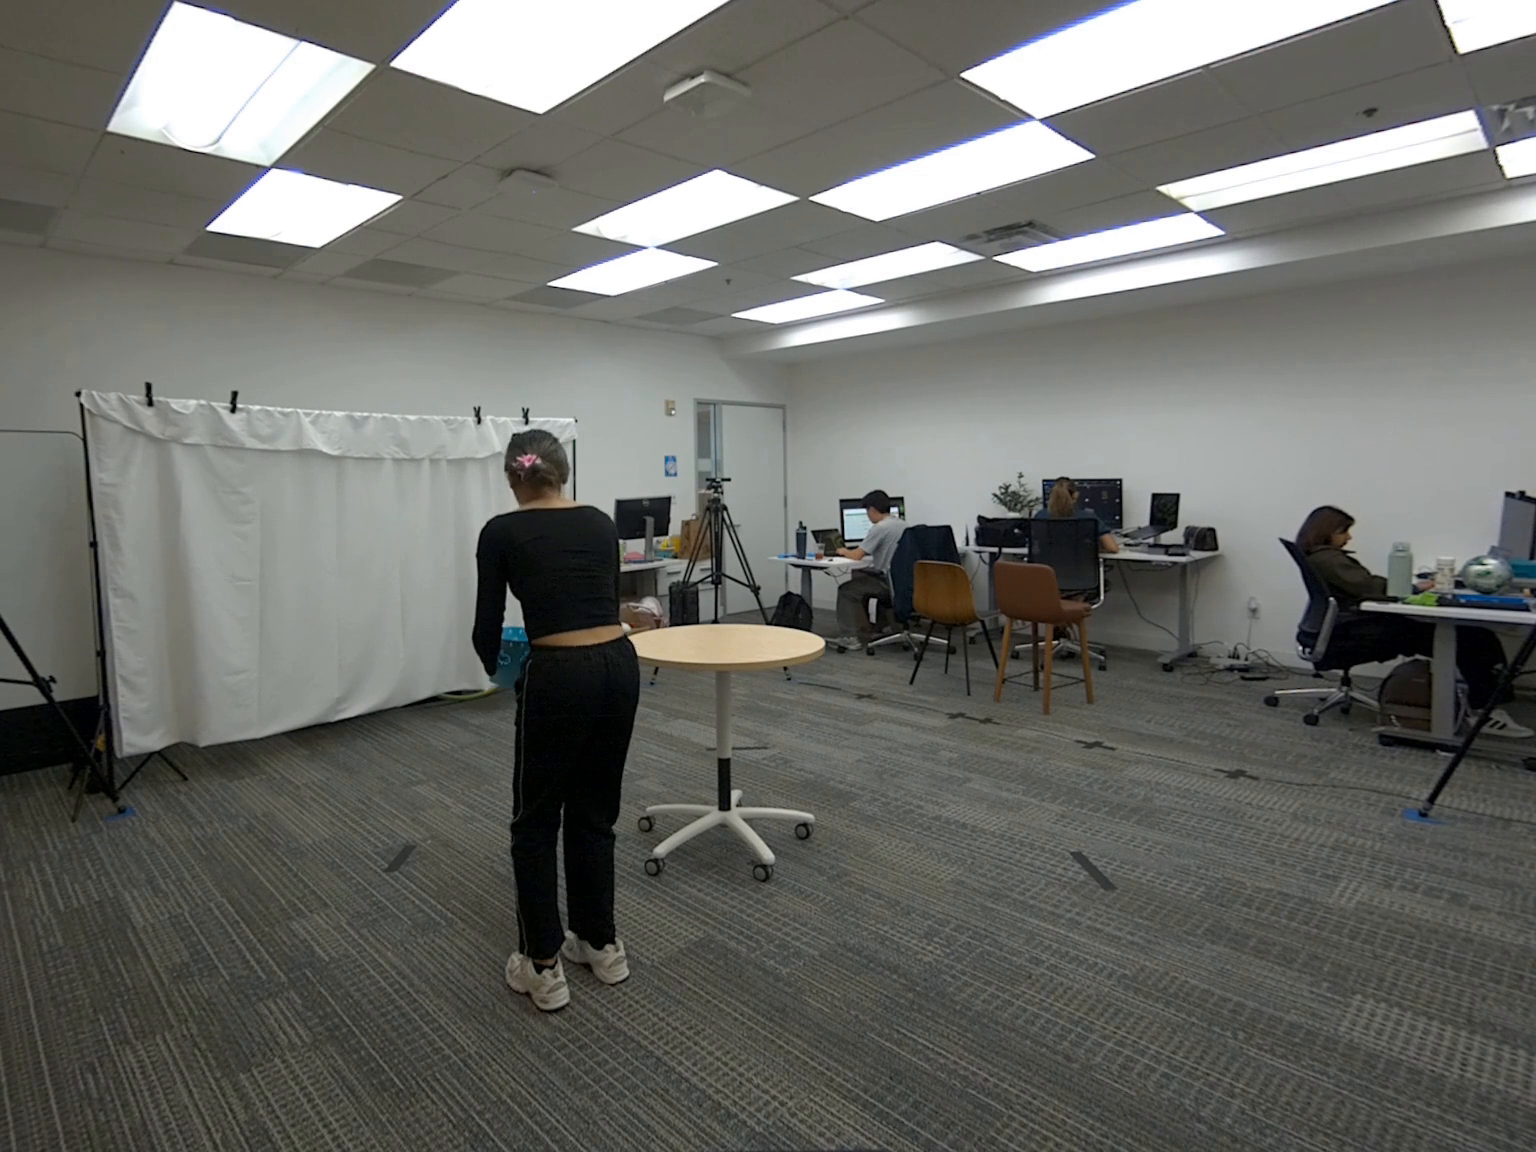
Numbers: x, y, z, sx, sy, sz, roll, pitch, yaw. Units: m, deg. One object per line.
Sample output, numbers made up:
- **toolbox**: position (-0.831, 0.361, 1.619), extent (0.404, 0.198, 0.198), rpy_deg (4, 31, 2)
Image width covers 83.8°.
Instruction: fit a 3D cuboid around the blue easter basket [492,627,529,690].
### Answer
- **blue easter basket**: position (-0.777, 0.268, 2.699), extent (0.243, 0.155, 0.245), rpy_deg (6, 6, -2)
